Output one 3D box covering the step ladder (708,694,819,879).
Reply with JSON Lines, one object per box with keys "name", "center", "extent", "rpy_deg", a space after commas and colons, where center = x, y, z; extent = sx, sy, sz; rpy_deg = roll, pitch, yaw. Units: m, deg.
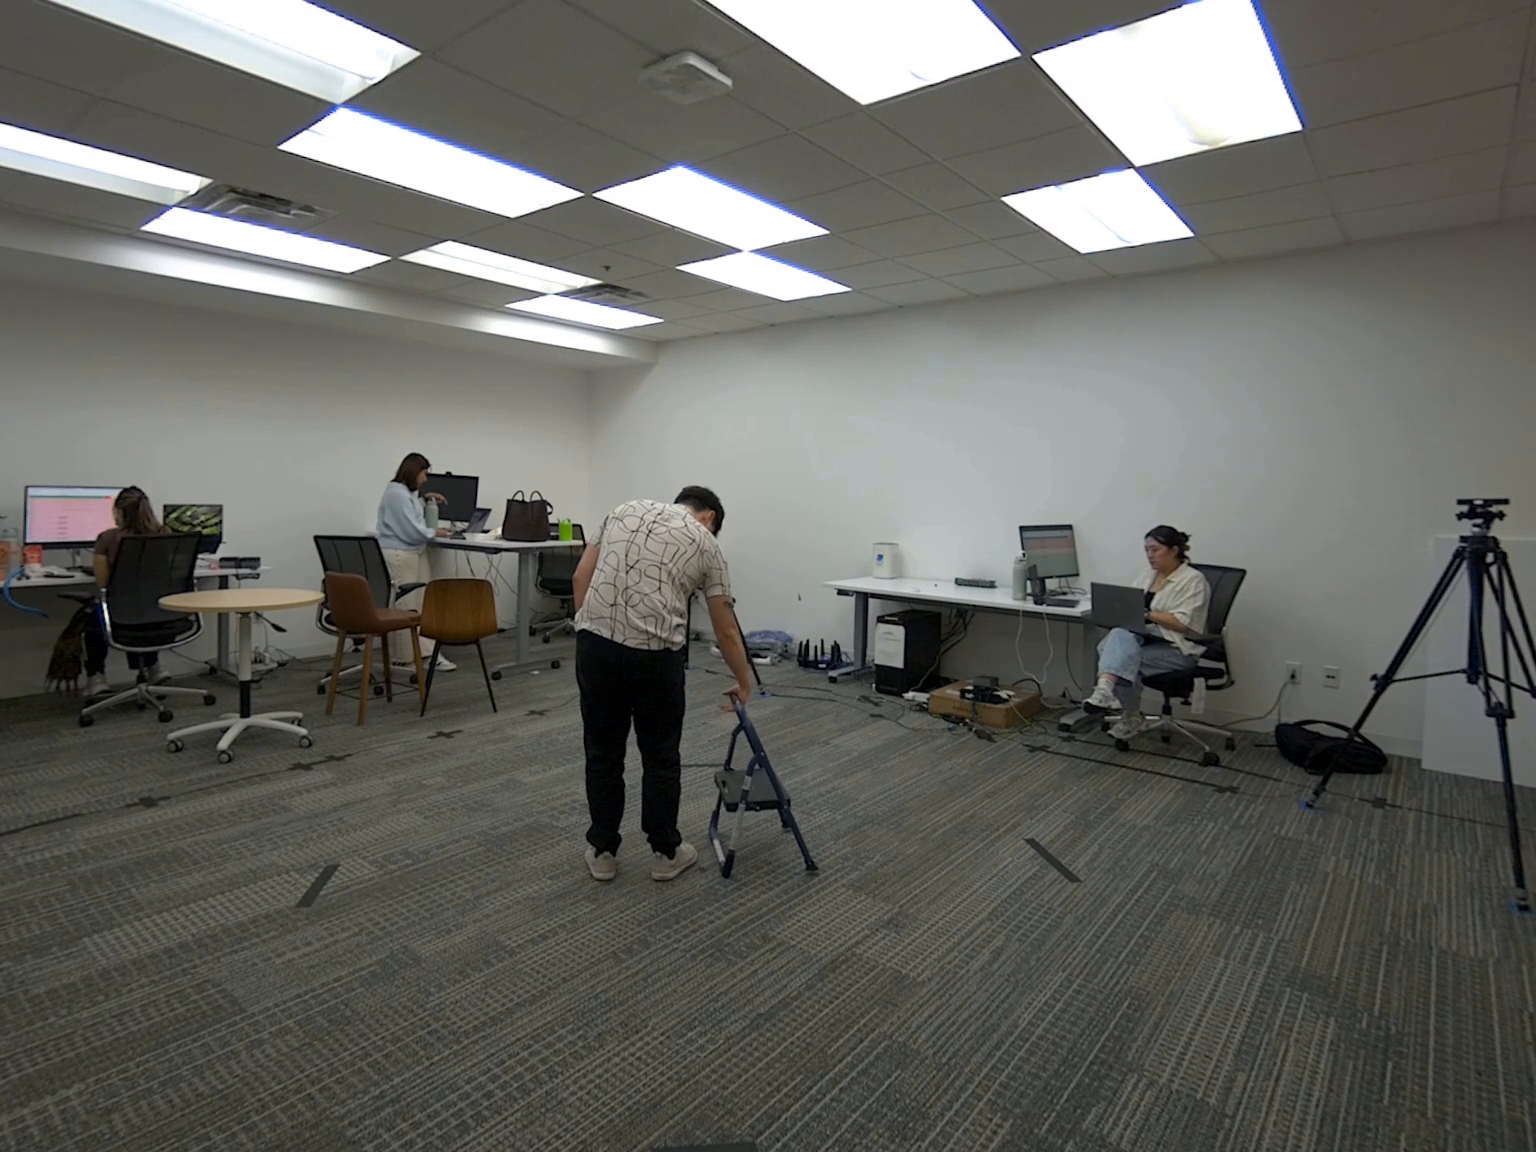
{"name": "step ladder", "center": [-0.054, 0.756, 3.252], "extent": [0.345, 0.604, 0.437], "rpy_deg": [-2, 4, -12]}
